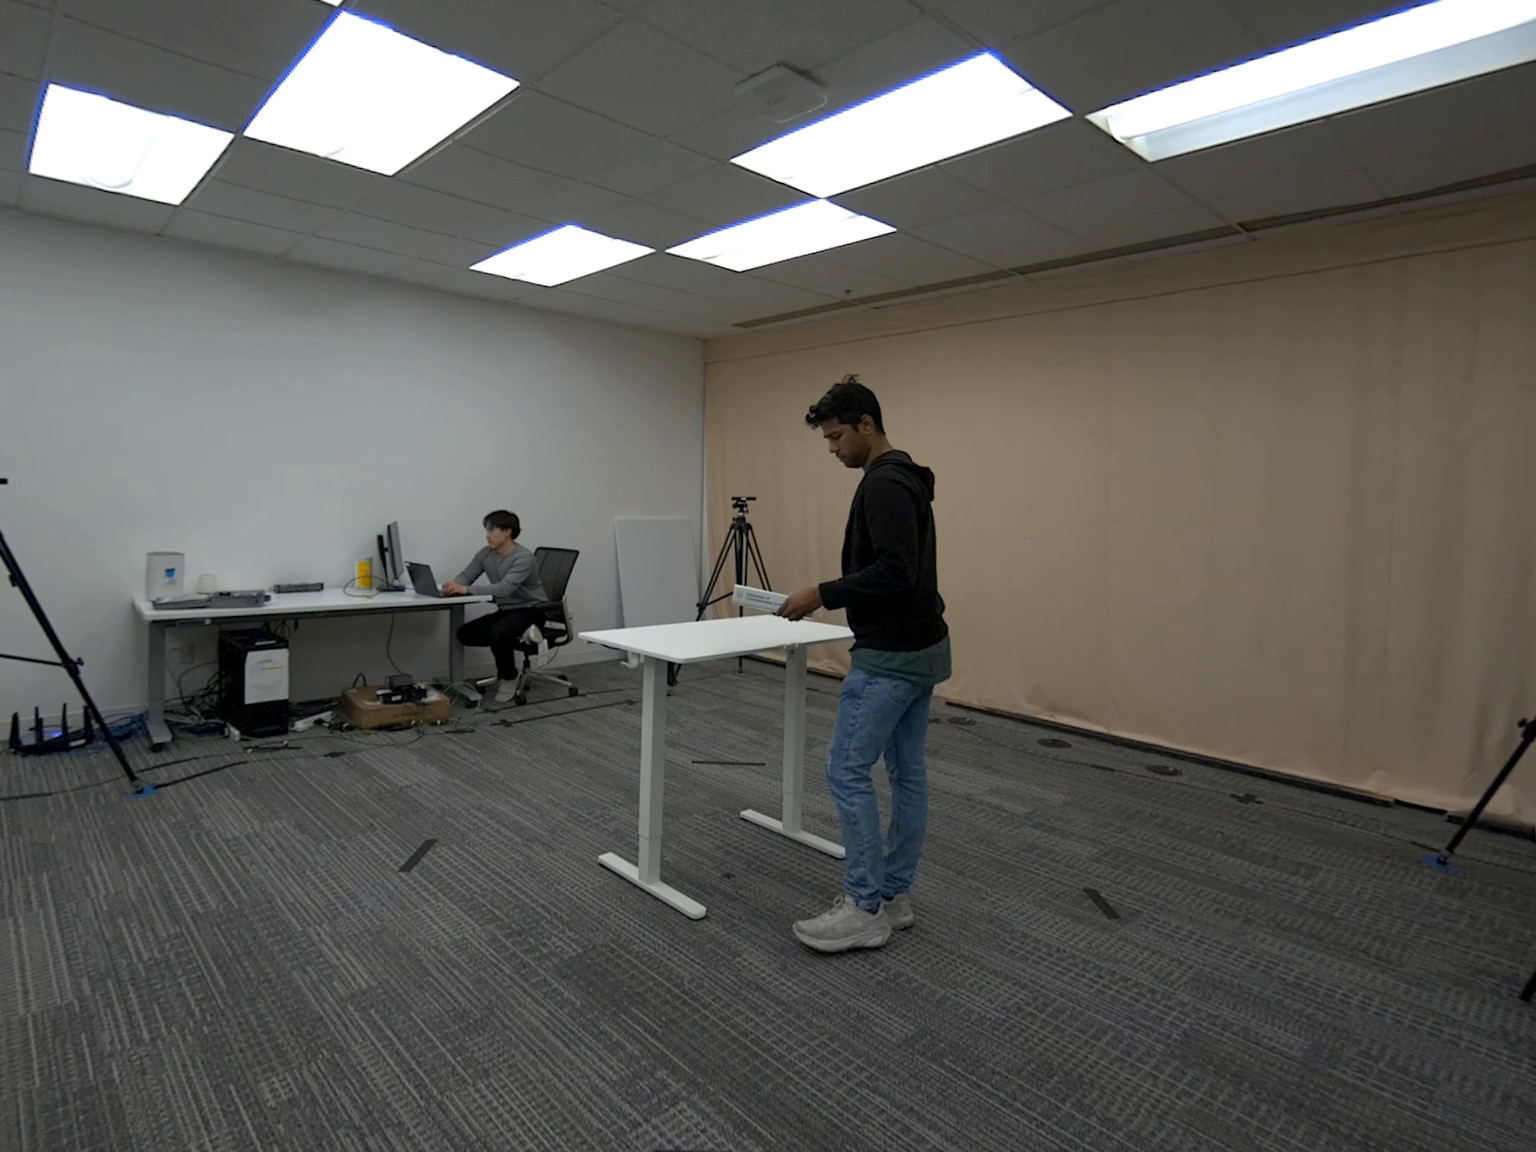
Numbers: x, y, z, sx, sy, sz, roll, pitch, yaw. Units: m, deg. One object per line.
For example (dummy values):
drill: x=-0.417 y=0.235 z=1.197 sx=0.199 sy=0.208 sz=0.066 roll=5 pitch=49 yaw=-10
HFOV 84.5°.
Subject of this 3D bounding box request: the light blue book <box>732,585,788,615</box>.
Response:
light blue book: x=0.026 y=0.094 z=2.745 sx=0.264 sy=0.059 sz=0.189 roll=8 pitch=-2 yaw=11
